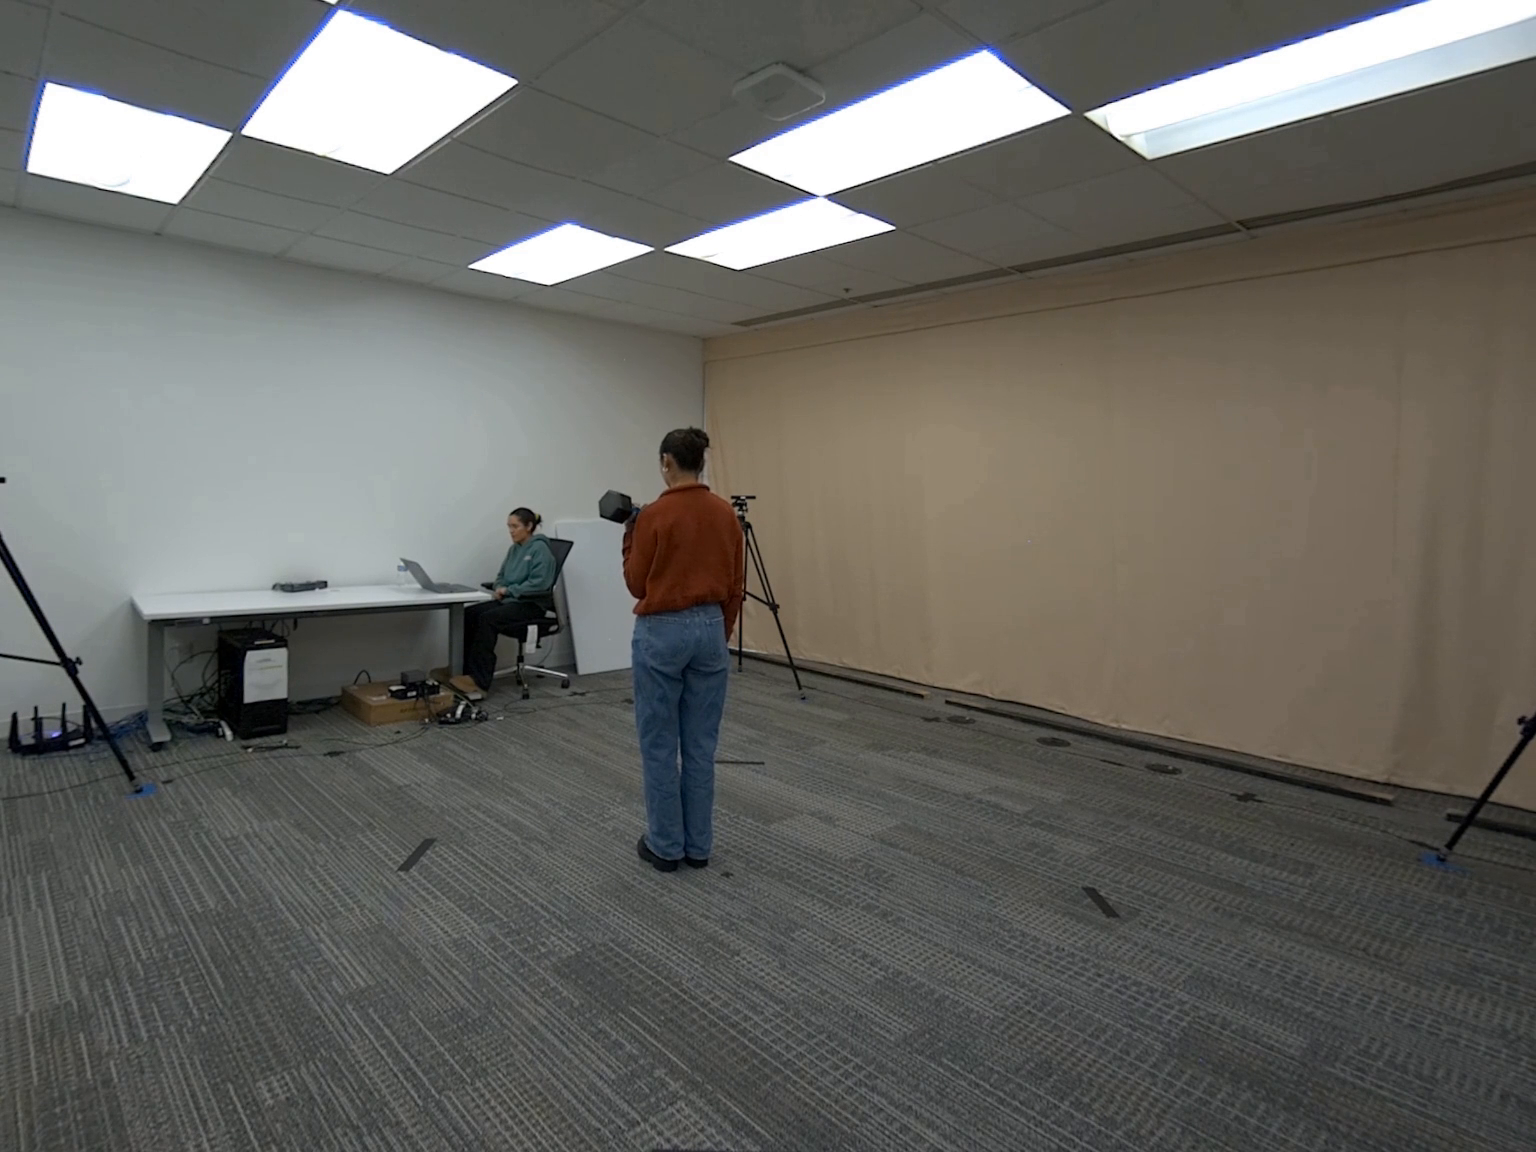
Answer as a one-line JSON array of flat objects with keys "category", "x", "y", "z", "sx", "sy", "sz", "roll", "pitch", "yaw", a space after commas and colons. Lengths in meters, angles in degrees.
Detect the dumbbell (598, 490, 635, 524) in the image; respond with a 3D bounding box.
[{"category": "dumbbell", "x": -0.507, "y": -0.232, "z": 3.163, "sx": 0.110, "sy": 0.125, "sz": 0.285, "roll": -17, "pitch": -21, "yaw": 30}]
